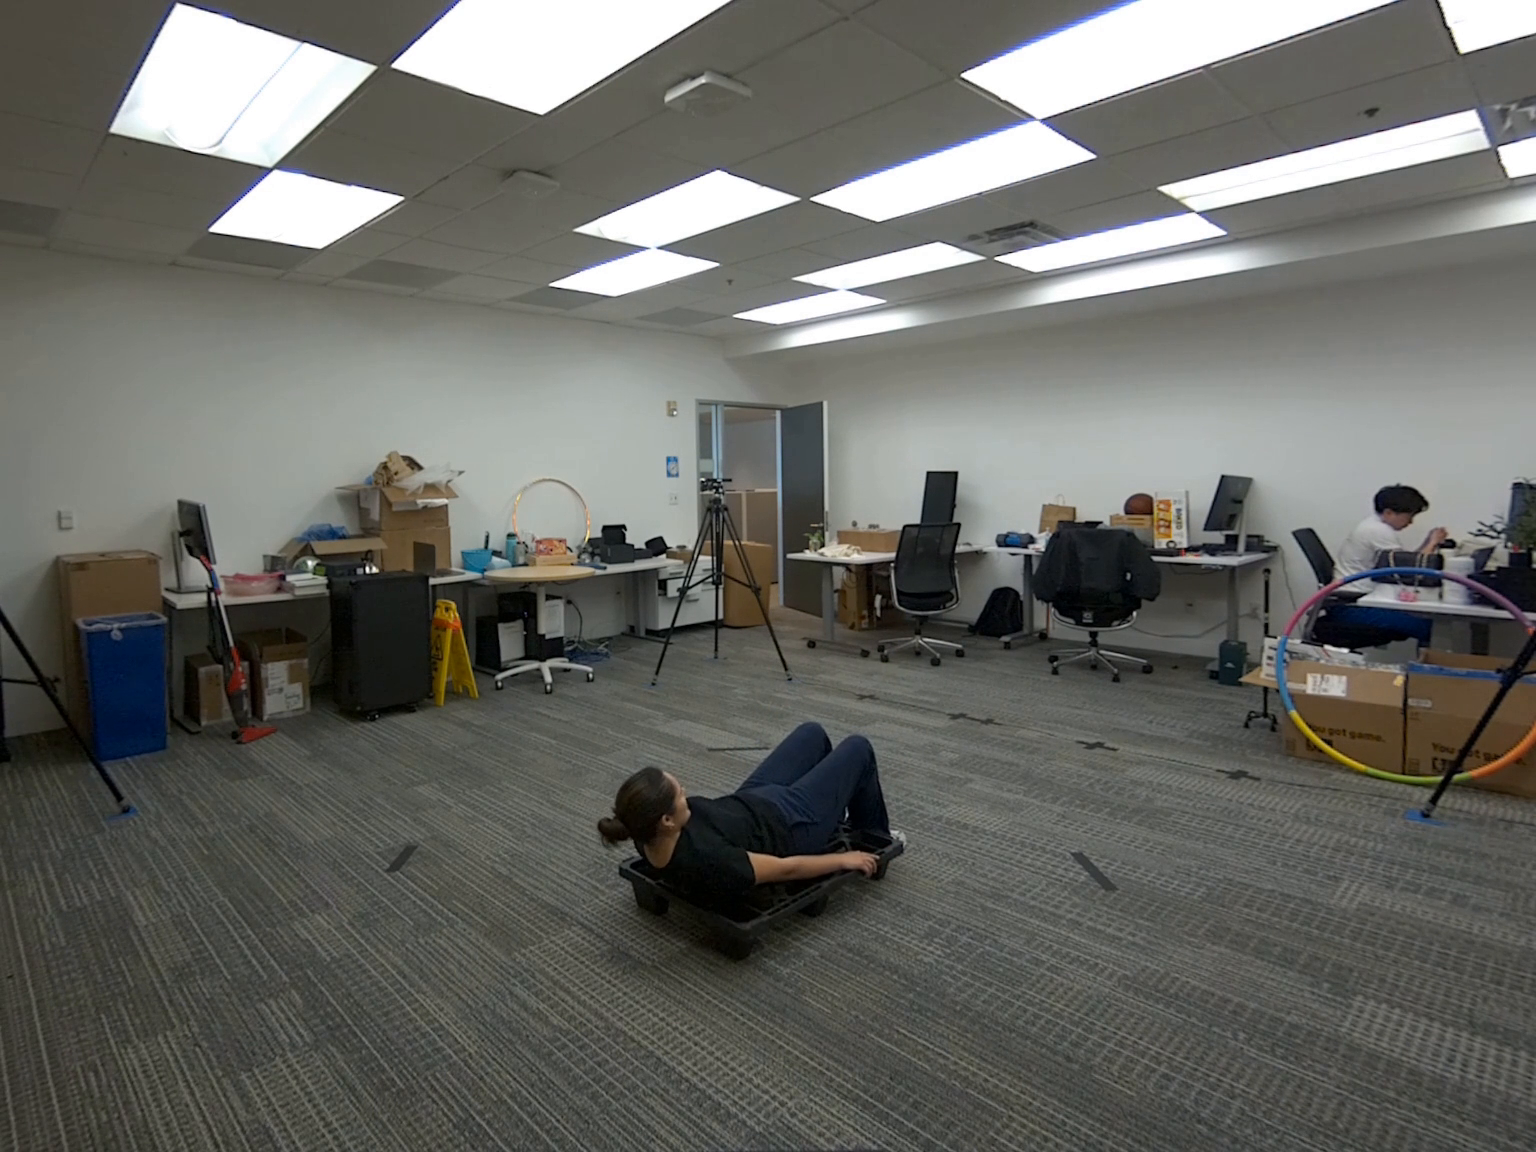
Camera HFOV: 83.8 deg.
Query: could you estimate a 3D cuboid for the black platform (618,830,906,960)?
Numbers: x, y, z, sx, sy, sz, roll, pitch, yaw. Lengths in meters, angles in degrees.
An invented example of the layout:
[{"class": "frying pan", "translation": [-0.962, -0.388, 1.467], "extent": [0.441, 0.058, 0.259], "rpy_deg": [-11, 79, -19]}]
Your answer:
[{"class": "black platform", "translation": [-0.009, 1.005, 2.901], "extent": [0.624, 0.142, 0.785], "rpy_deg": [6, 10, 43]}]
